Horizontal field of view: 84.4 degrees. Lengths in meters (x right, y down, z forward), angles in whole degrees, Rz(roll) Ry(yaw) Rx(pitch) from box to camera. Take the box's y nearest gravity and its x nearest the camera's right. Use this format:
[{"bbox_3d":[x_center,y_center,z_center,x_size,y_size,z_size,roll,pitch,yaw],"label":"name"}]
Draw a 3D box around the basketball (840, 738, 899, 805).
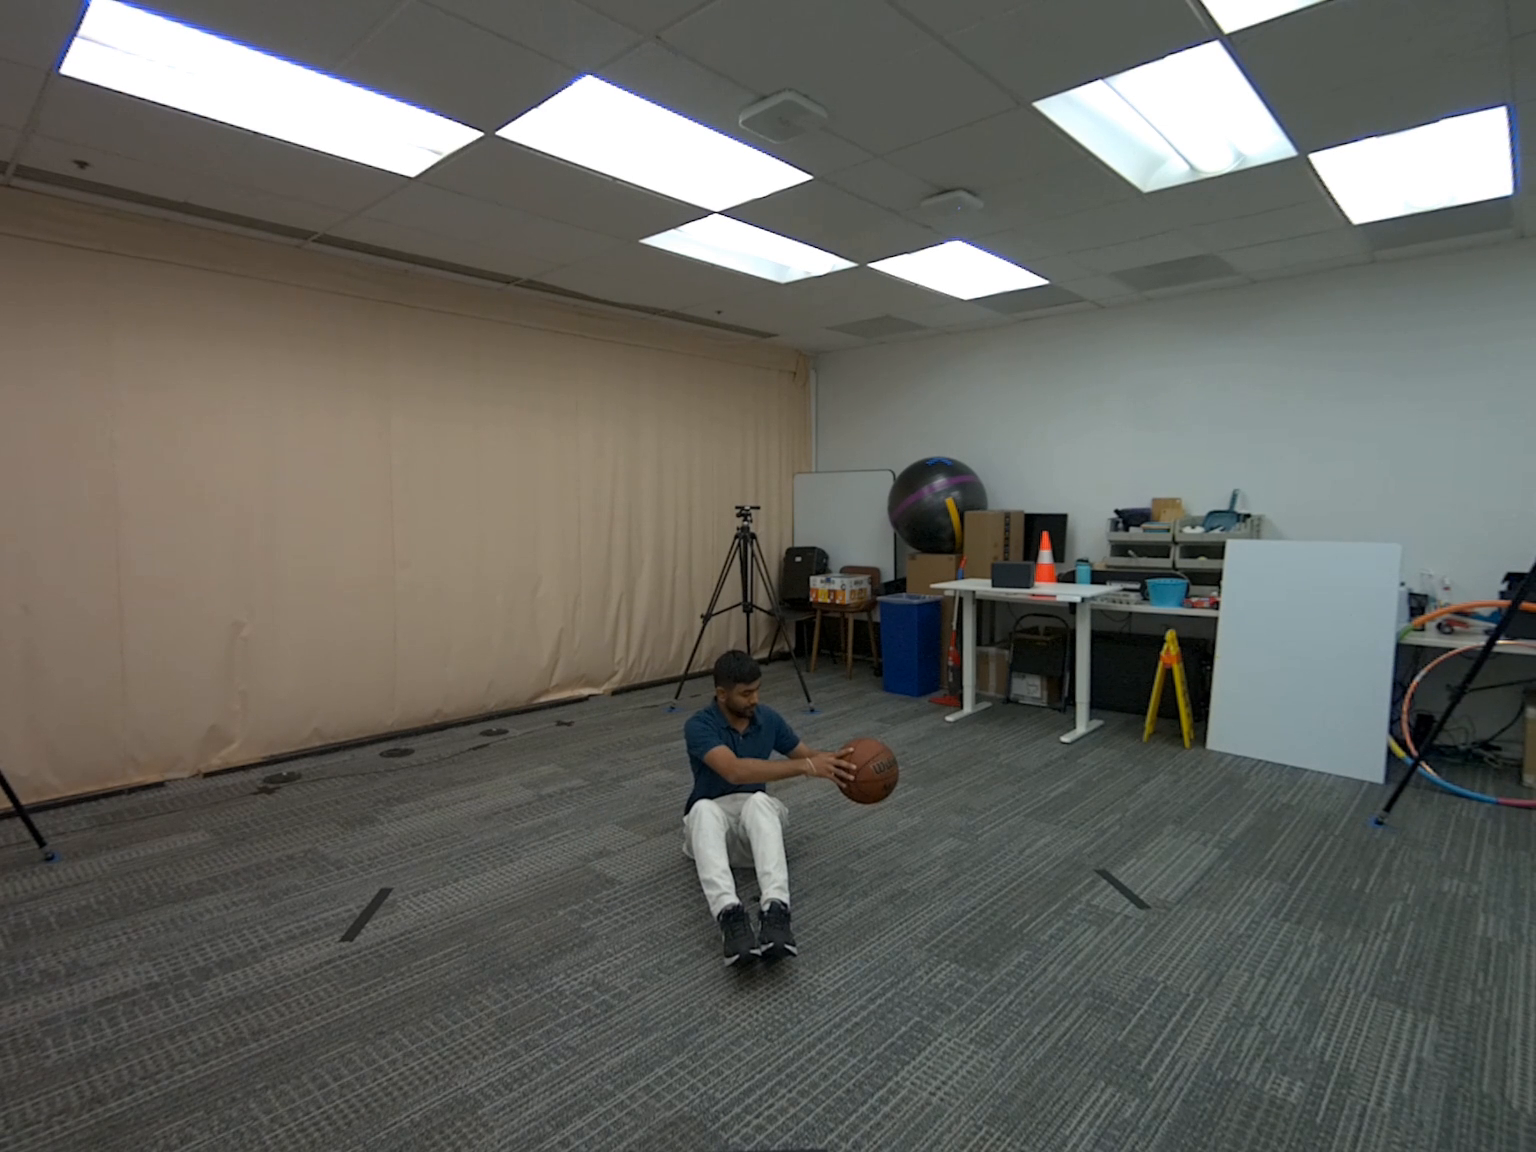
[{"bbox_3d":[0.364,0.725,3.102,0.236,0.235,0.237,0,4,-2],"label":"basketball"}]
